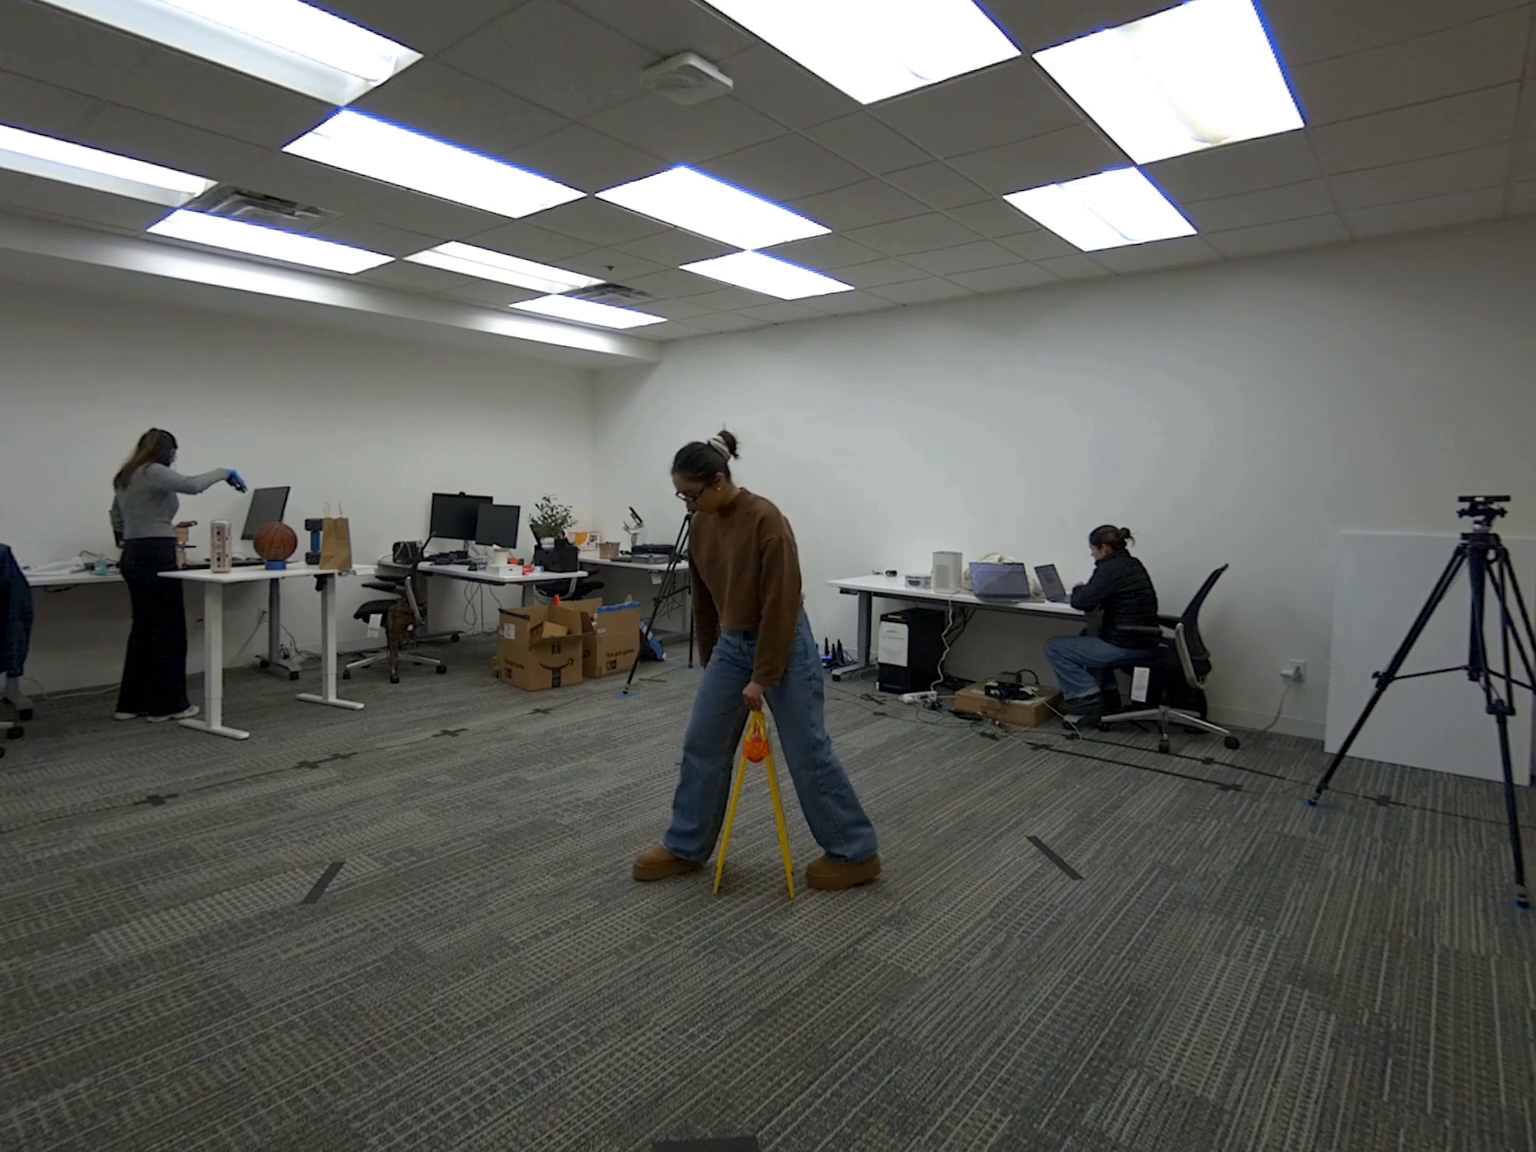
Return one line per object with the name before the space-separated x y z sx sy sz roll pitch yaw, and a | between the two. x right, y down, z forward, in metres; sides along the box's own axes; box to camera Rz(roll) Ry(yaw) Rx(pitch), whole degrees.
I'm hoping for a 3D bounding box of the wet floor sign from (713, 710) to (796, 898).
wet floor sign | -0.042 0.759 3.006 0.291 0.643 0.282 2 5 3
